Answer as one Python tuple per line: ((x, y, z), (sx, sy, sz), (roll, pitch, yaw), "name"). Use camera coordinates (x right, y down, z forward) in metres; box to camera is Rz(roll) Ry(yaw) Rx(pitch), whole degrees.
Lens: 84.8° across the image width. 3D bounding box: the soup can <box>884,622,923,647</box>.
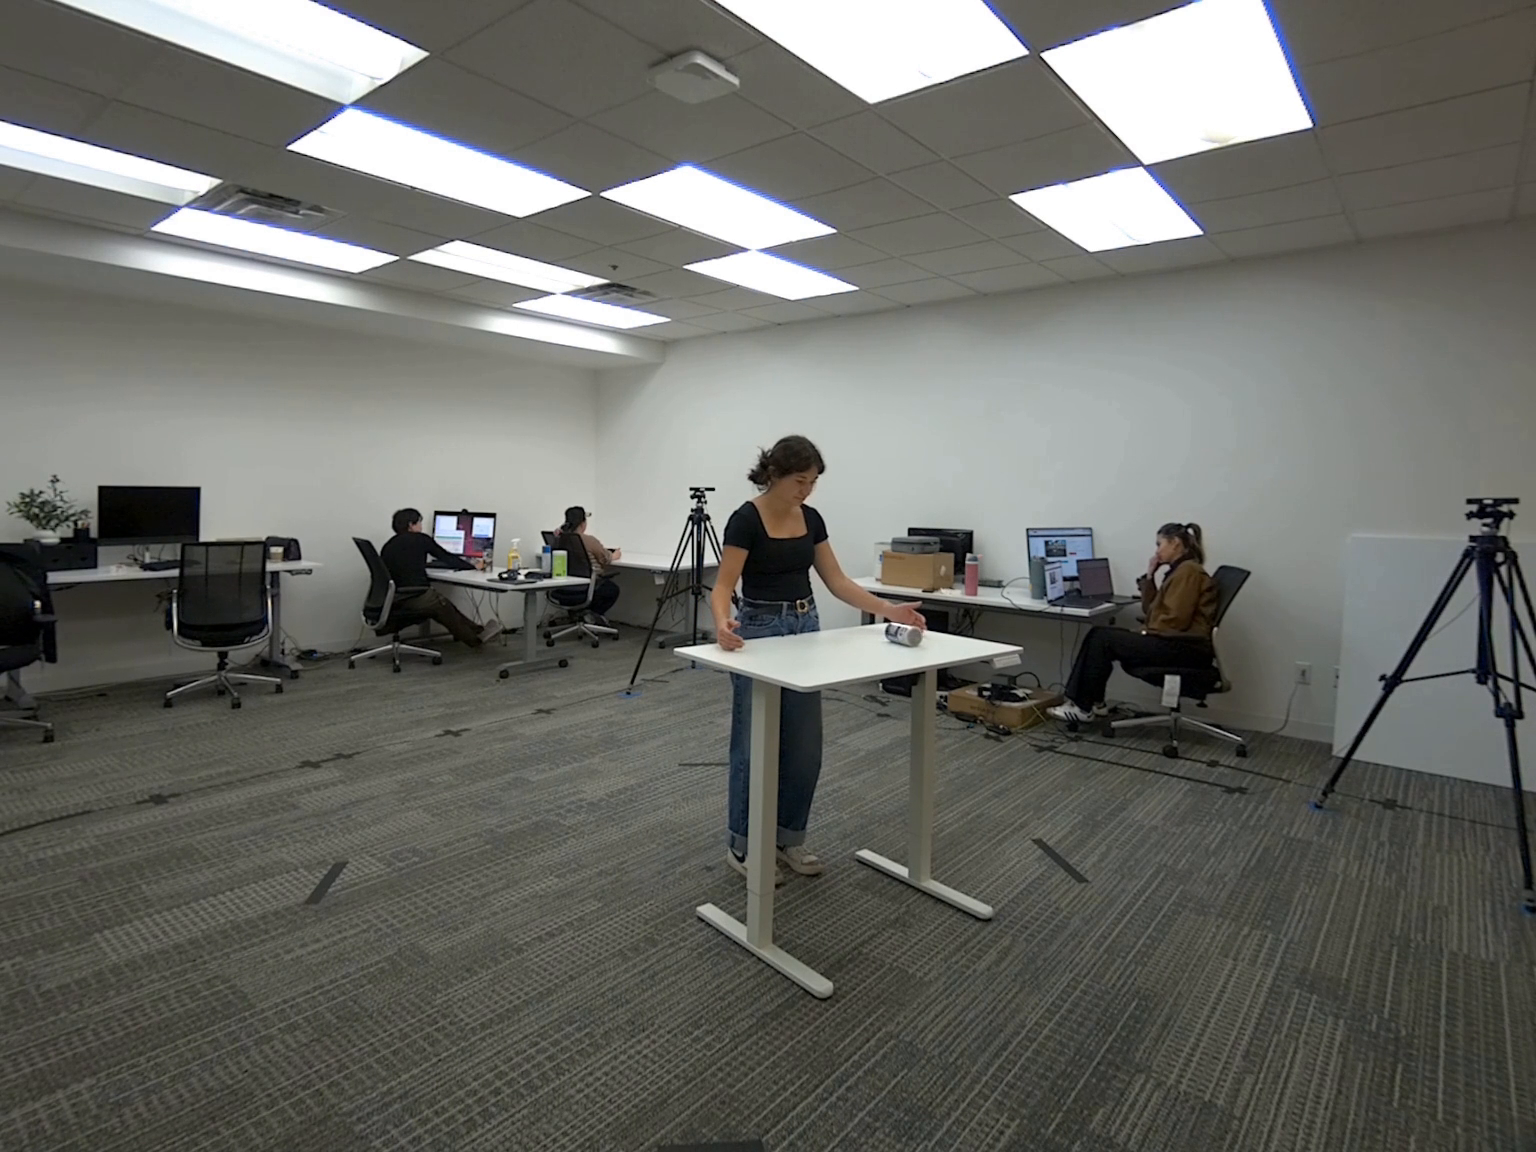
((0.443, 0.194, 2.830), (0.065, 0.067, 0.125), (-1, 3, -28), "soup can")
